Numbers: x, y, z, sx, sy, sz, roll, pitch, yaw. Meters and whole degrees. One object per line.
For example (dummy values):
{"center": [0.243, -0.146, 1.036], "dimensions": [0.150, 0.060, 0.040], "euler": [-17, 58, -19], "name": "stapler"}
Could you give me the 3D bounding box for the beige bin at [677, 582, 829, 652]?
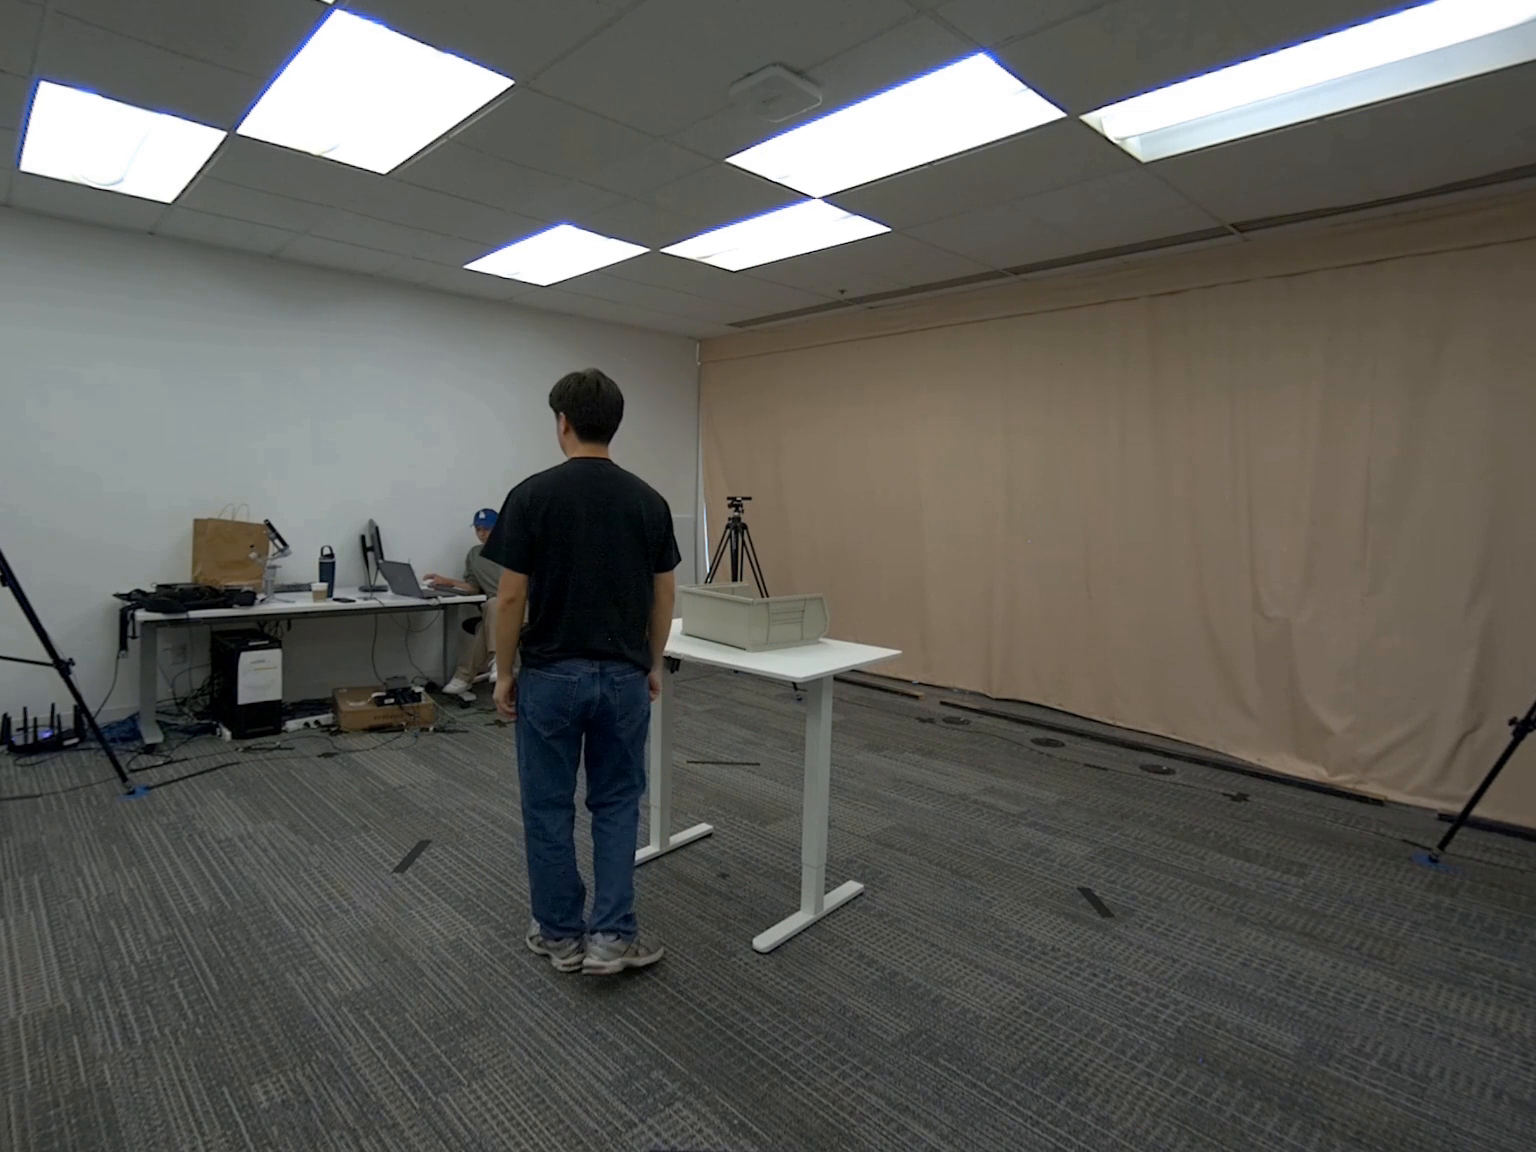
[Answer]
{"center": [-0.060, 0.141, 3.055], "dimensions": [0.369, 0.188, 0.433], "euler": [-5, 8, -40], "name": "beige bin"}
